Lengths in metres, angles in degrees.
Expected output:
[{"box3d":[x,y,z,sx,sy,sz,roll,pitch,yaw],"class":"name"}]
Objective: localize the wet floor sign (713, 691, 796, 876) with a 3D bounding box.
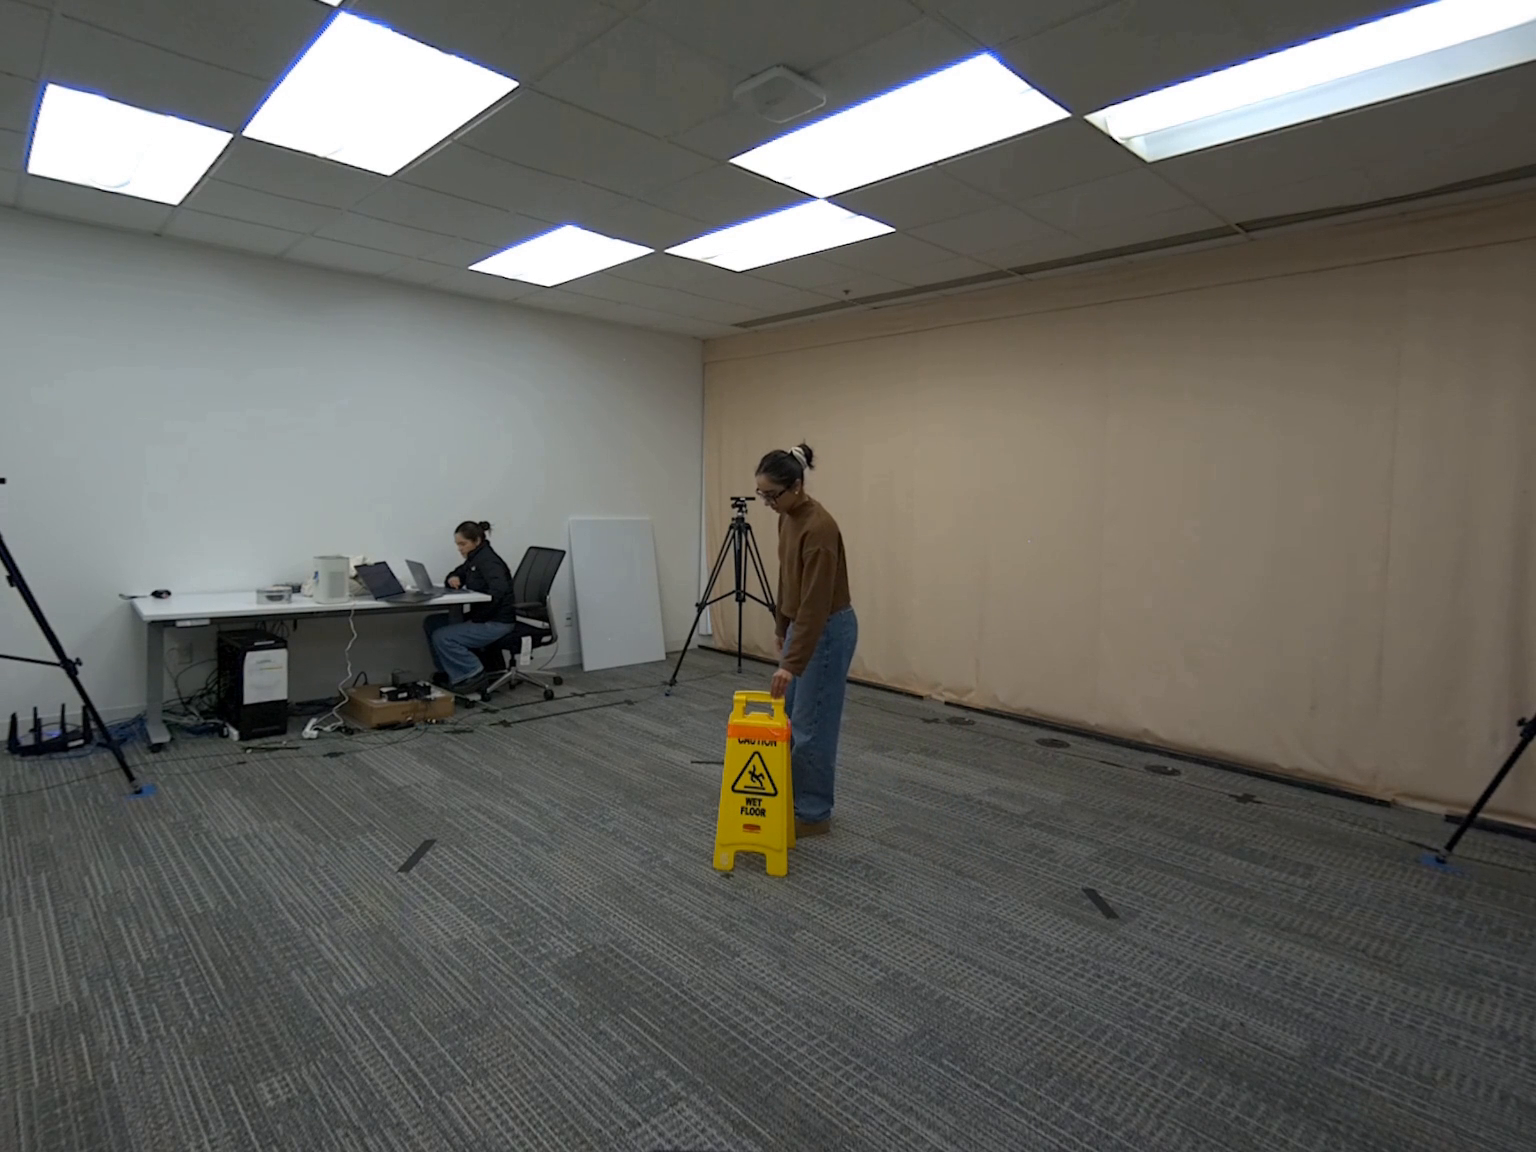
[{"box3d":[-0.055,0.774,3.259,0.284,0.645,0.288,2,2,9],"class":"wet floor sign"}]
